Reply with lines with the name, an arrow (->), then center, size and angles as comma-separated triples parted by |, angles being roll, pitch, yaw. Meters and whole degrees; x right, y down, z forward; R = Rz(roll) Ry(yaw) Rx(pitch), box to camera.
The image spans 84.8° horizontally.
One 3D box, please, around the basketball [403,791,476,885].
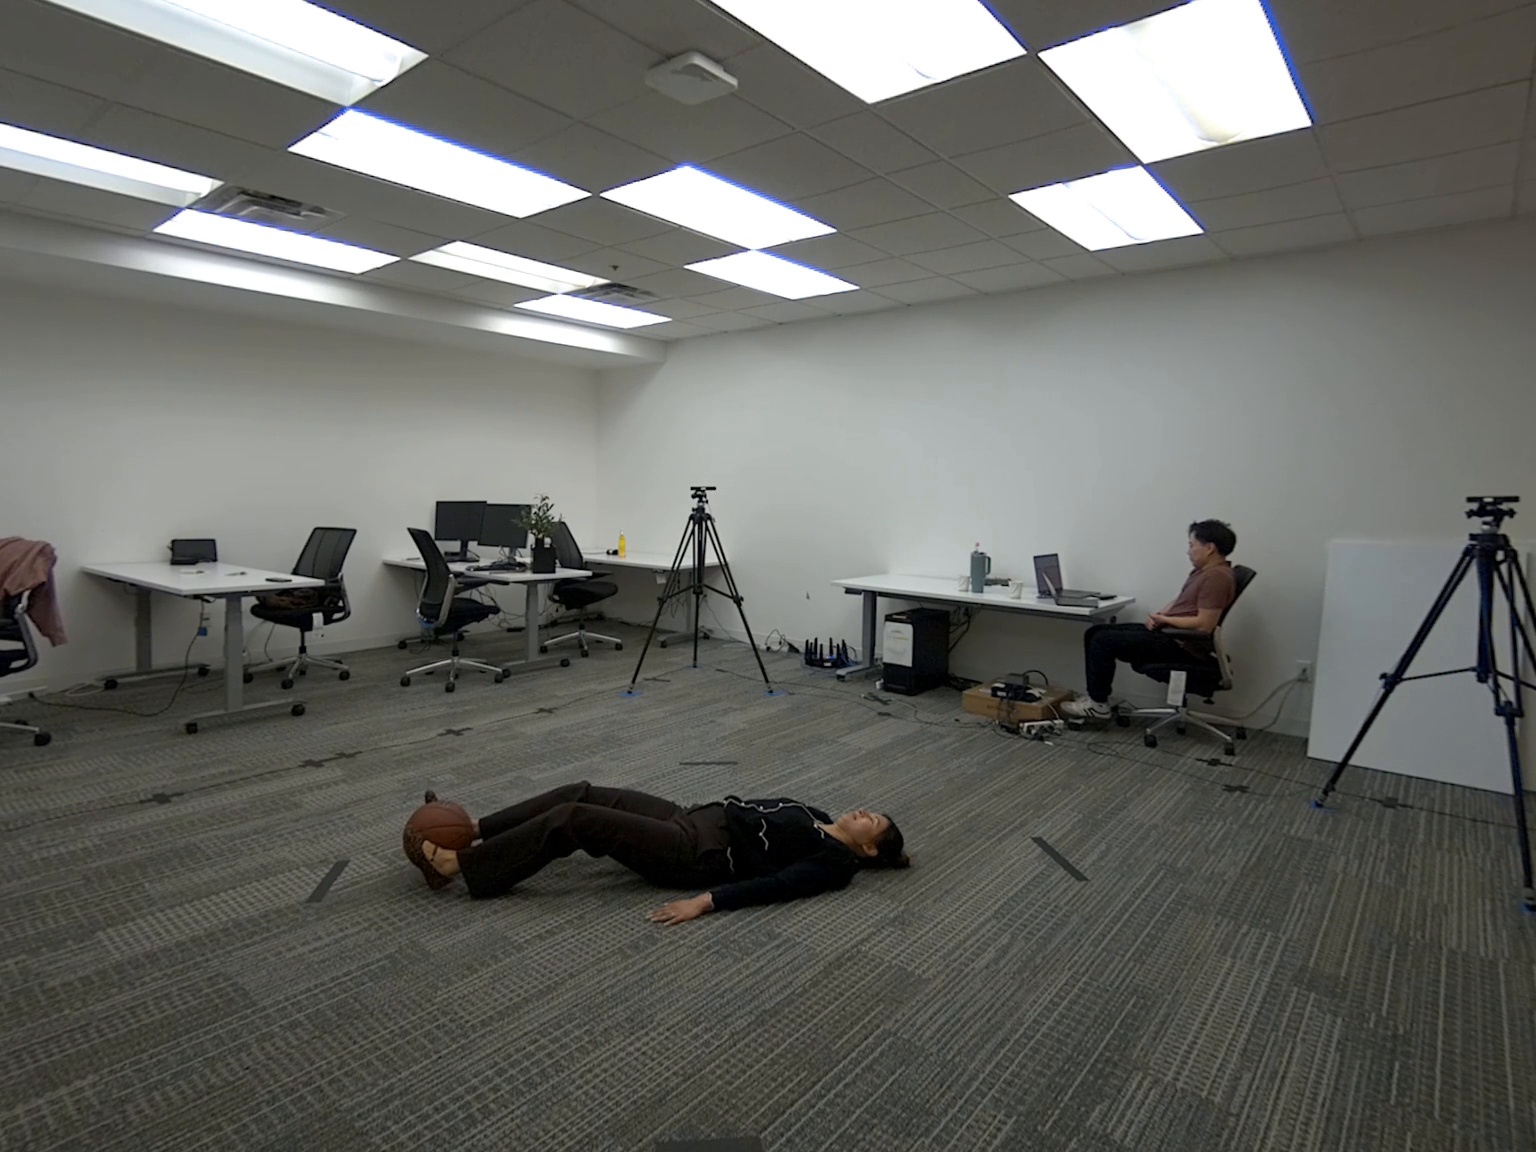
basketball -> -1.170, 0.895, 2.986 | 0.236, 0.234, 0.238 | 0, 7, -2
